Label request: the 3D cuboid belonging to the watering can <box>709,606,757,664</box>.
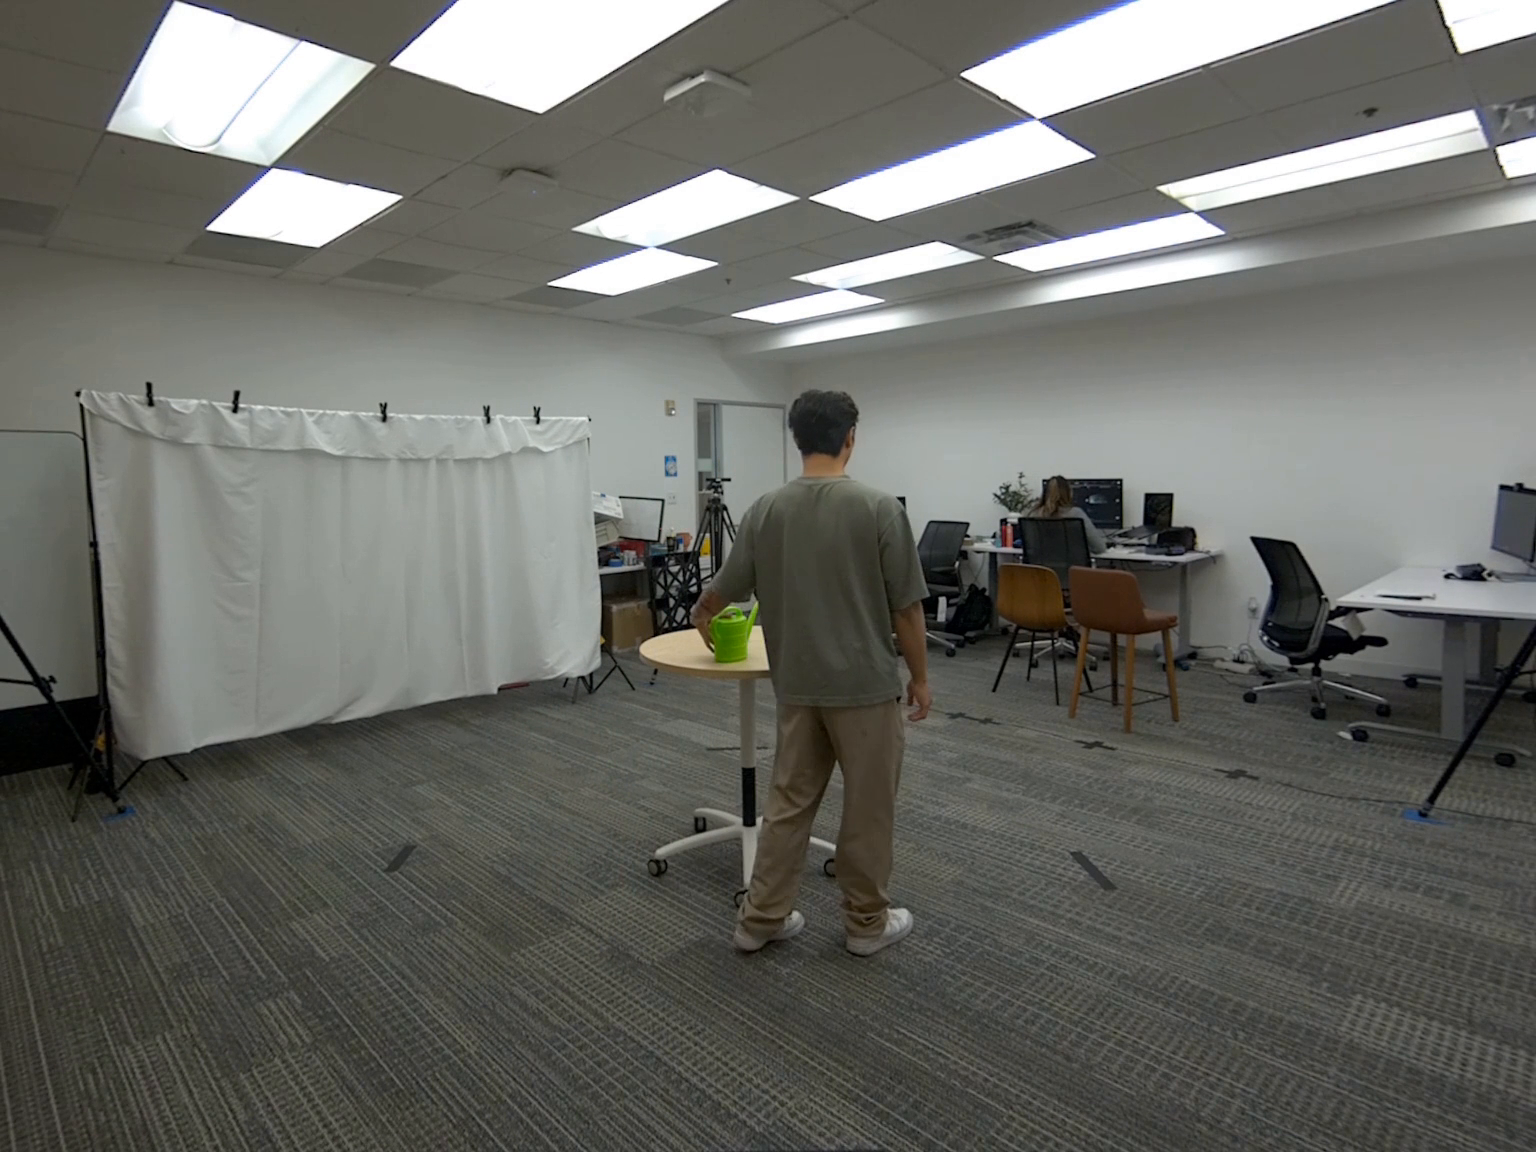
[{"bbox_3d":[-0.083,0.184,2.865,0.272,0.176,0.101,-8,8,-35],"label":"watering can"}]
